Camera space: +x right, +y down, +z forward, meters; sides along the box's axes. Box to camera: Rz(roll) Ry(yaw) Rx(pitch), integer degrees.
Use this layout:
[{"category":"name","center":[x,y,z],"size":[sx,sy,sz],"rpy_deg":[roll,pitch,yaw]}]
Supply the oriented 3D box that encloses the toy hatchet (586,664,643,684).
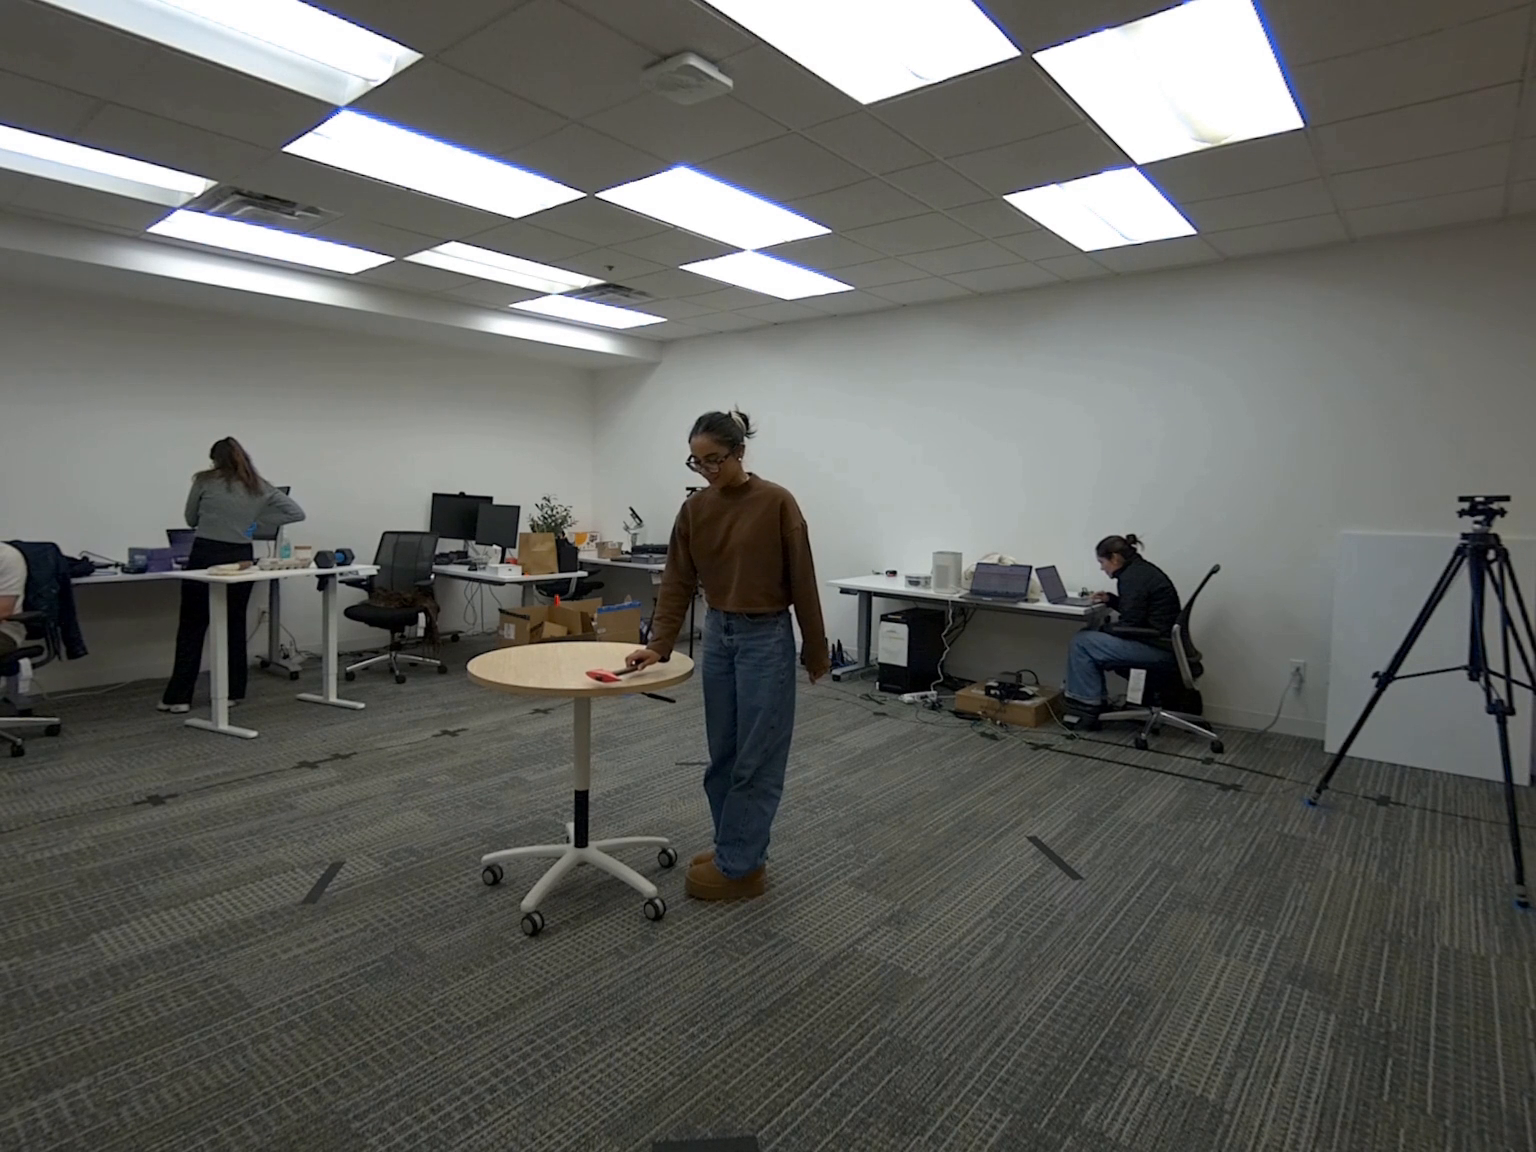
[{"category":"toy hatchet","center":[-0.423,0.304,2.659],"size":[0.261,0.029,0.135],"rpy_deg":[3,3,-41]}]
